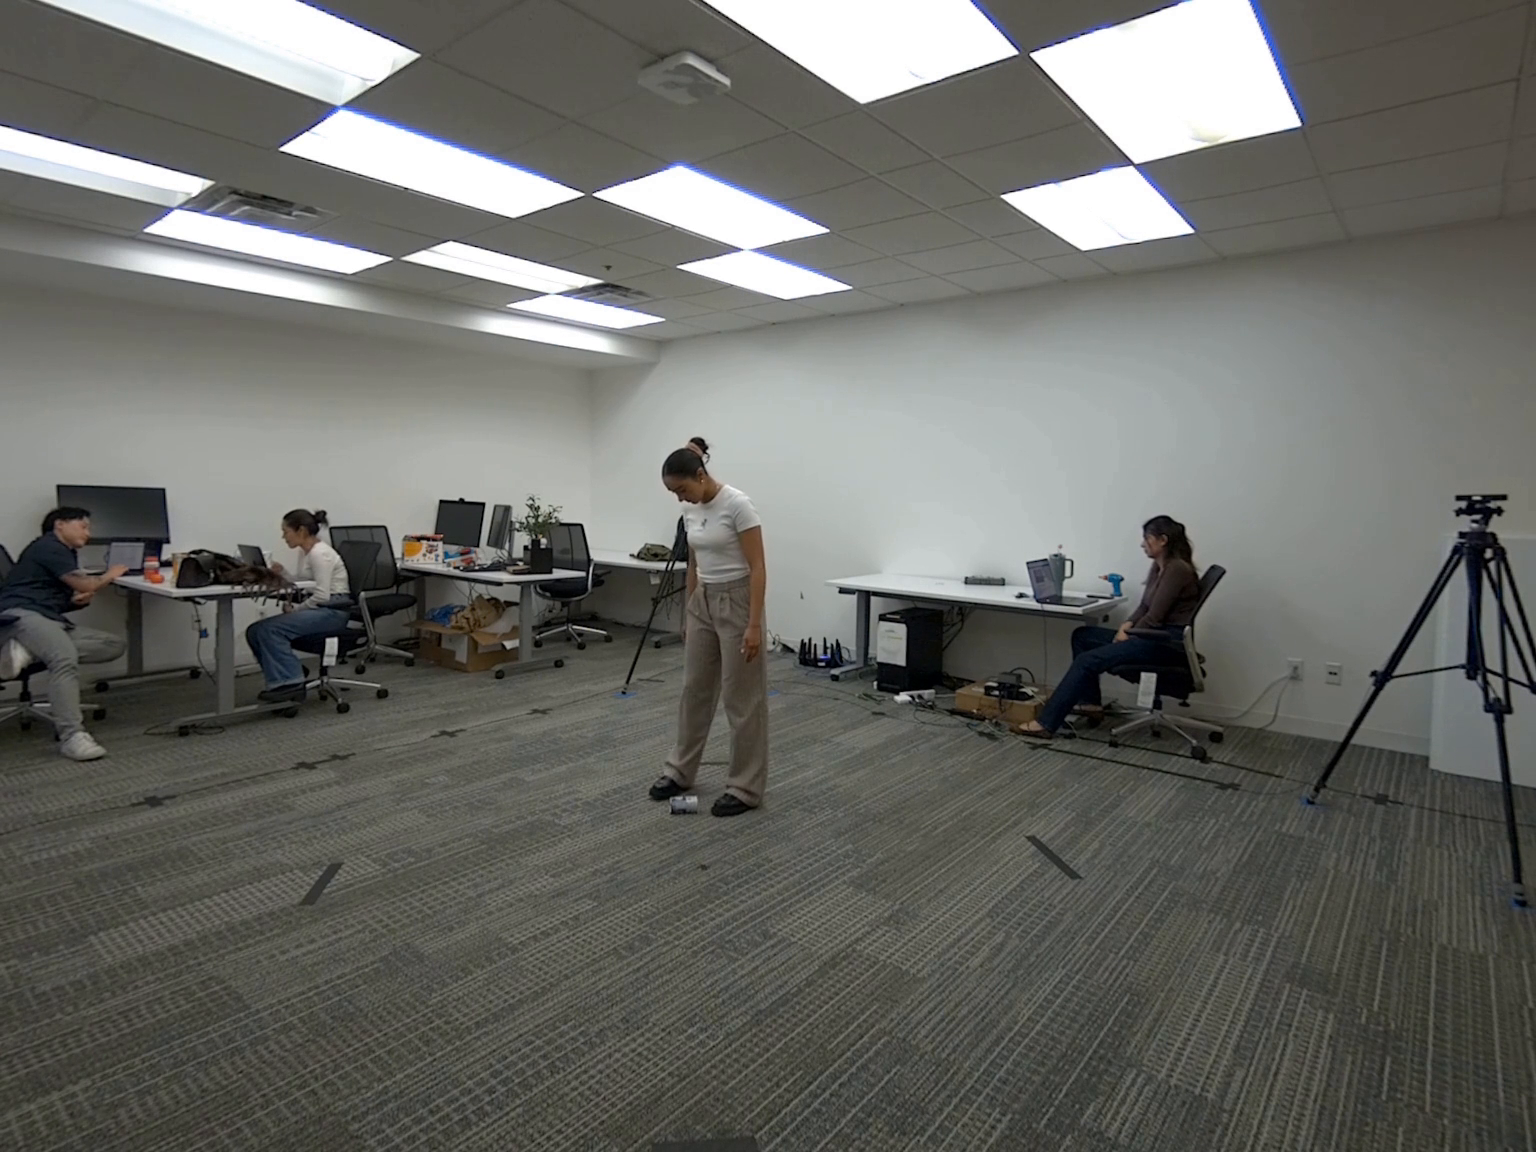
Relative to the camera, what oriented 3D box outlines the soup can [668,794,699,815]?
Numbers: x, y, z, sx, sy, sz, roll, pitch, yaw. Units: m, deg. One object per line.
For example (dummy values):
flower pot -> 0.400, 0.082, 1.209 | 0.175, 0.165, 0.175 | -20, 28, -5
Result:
soup can -> -0.383, 0.975, 3.645 | 0.120, 0.067, 0.068 | -2, 5, -10
